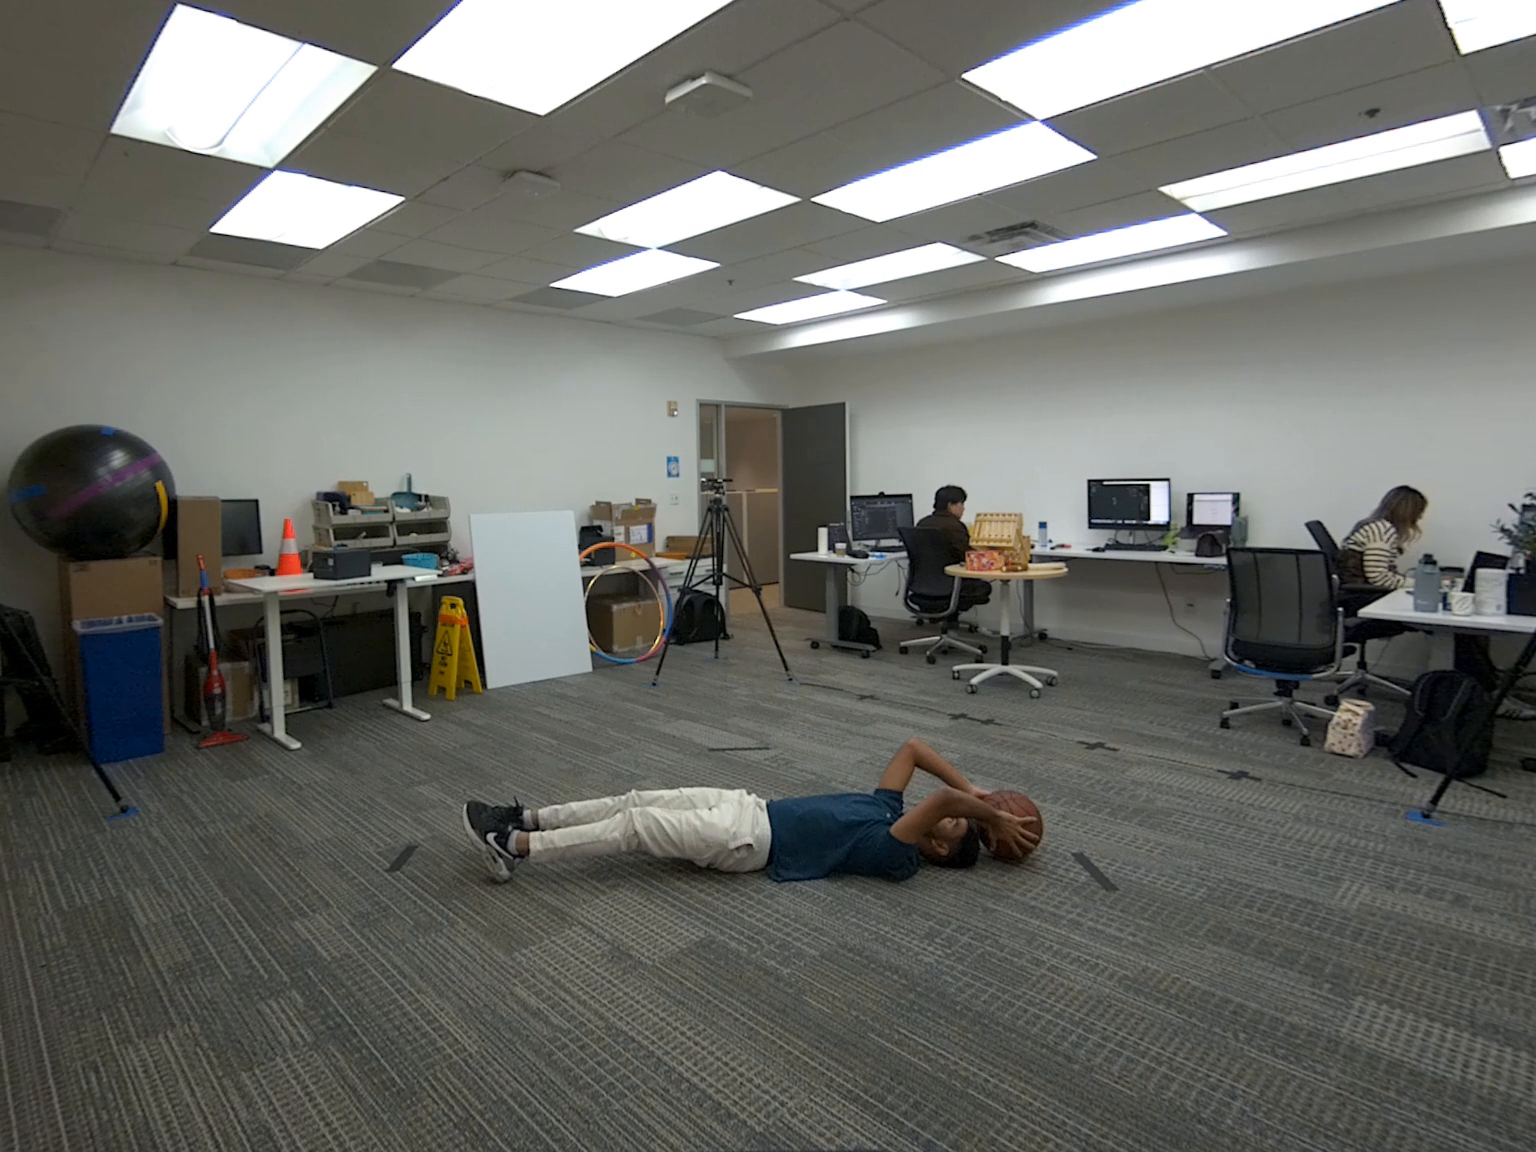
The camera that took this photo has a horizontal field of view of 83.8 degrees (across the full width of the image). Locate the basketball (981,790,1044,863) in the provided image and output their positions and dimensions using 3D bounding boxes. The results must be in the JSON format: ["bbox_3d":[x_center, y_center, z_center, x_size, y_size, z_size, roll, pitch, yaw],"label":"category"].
[{"bbox_3d":[0.887,0.905,3.129,0.236,0.235,0.237,-1,5,-2],"label":"basketball"}]
